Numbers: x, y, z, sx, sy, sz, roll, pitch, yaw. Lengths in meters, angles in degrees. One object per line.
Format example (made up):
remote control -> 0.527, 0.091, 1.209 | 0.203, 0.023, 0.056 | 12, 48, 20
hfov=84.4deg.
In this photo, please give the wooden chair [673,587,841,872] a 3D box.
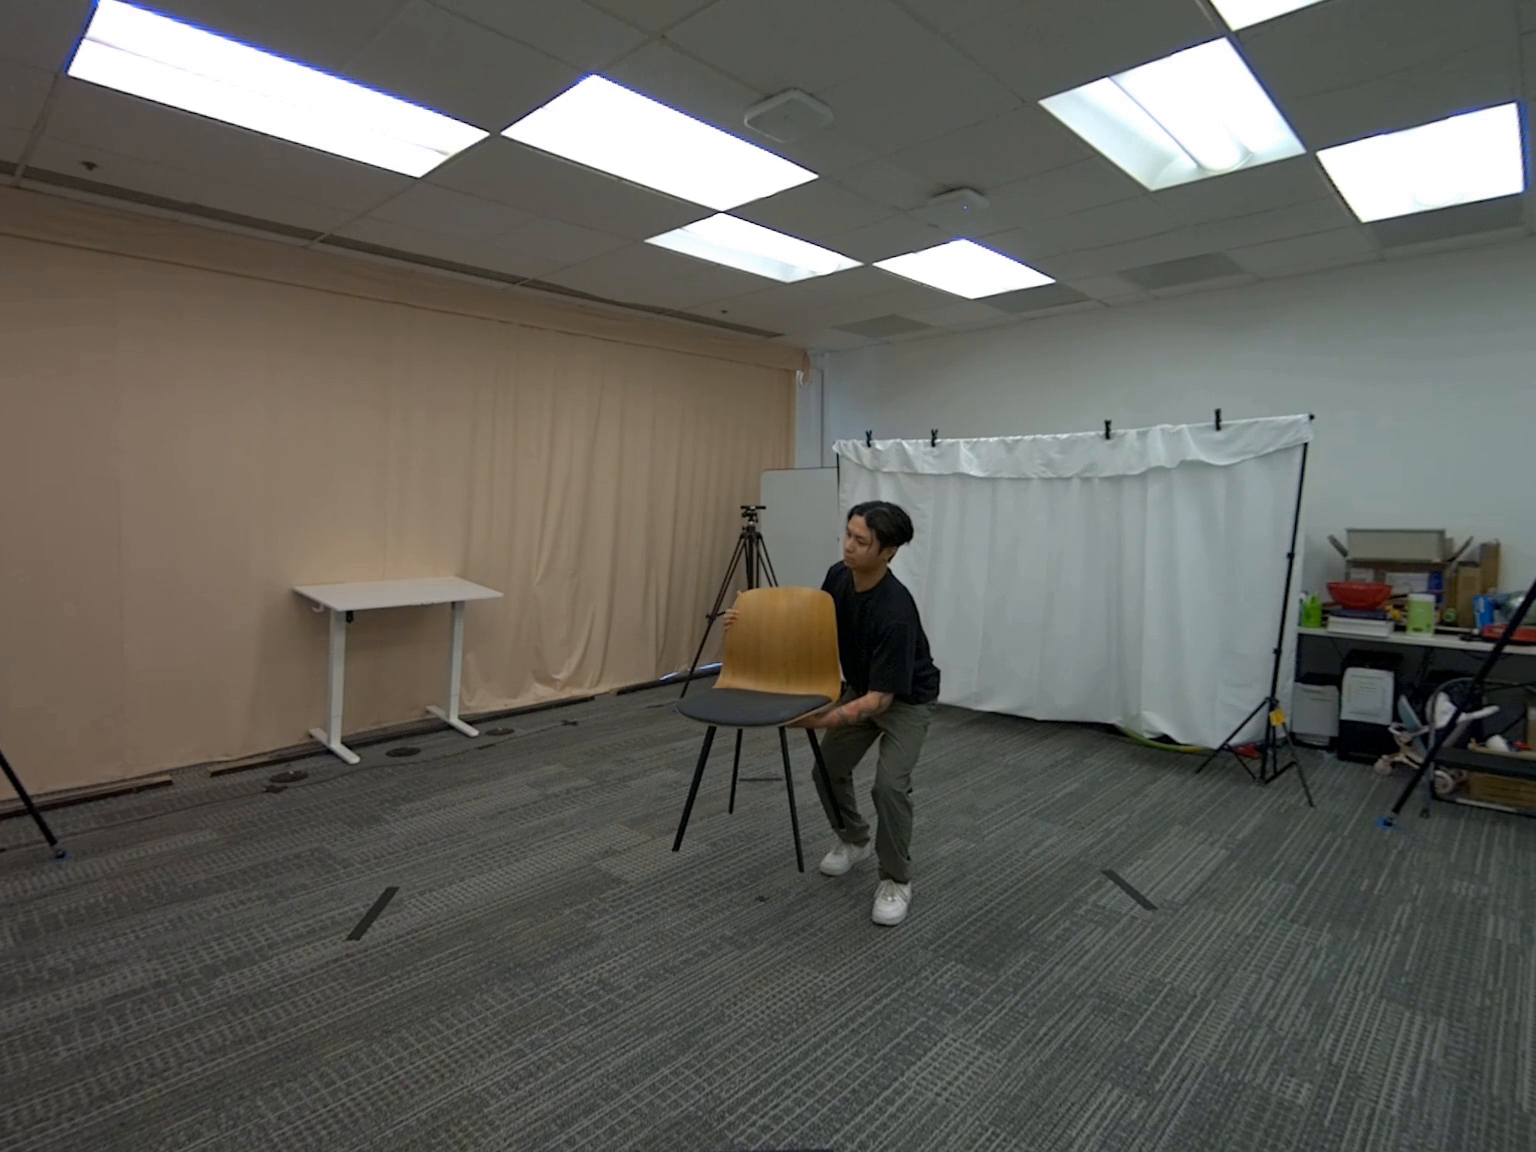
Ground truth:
wooden chair -> -0.022, 0.474, 2.839 | 0.490, 0.879, 0.509 | 1, -3, 24
